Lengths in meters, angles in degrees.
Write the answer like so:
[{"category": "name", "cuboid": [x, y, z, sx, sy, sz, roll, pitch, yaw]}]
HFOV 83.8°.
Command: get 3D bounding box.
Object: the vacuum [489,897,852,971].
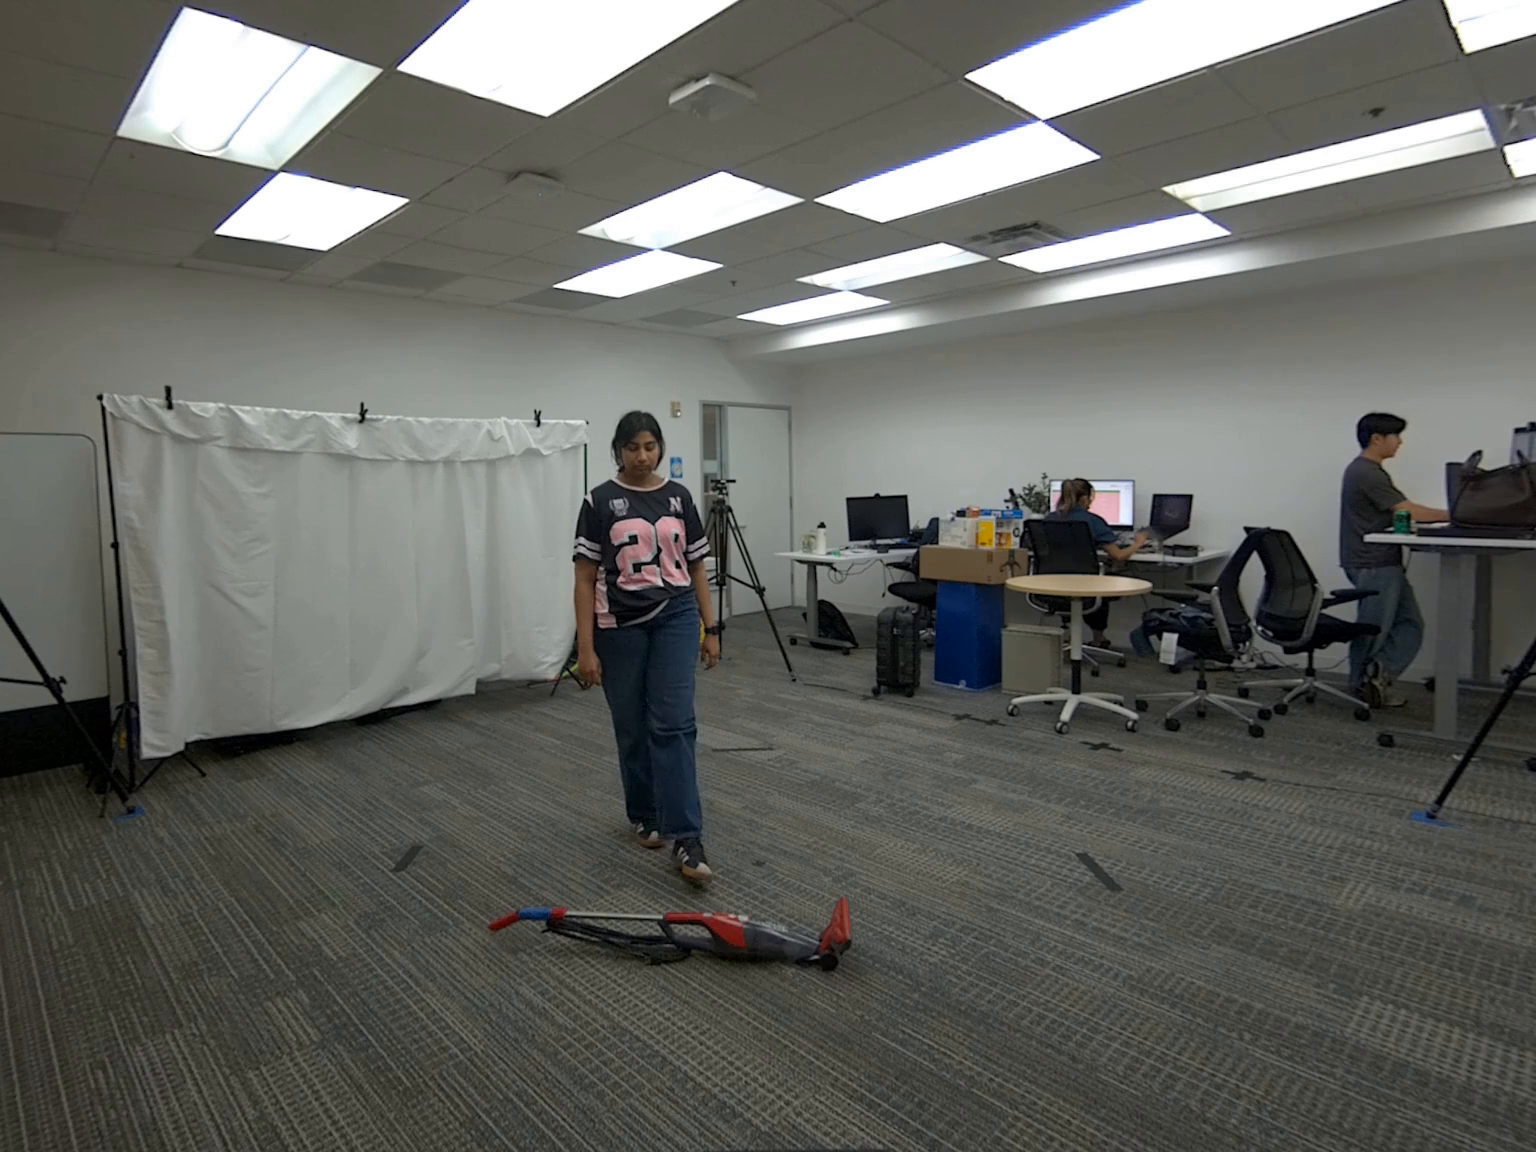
[{"category": "vacuum", "cuboid": [-0.311, 1.055, 2.533, 1.054, 0.143, 0.252, -1, 5, 5]}]
